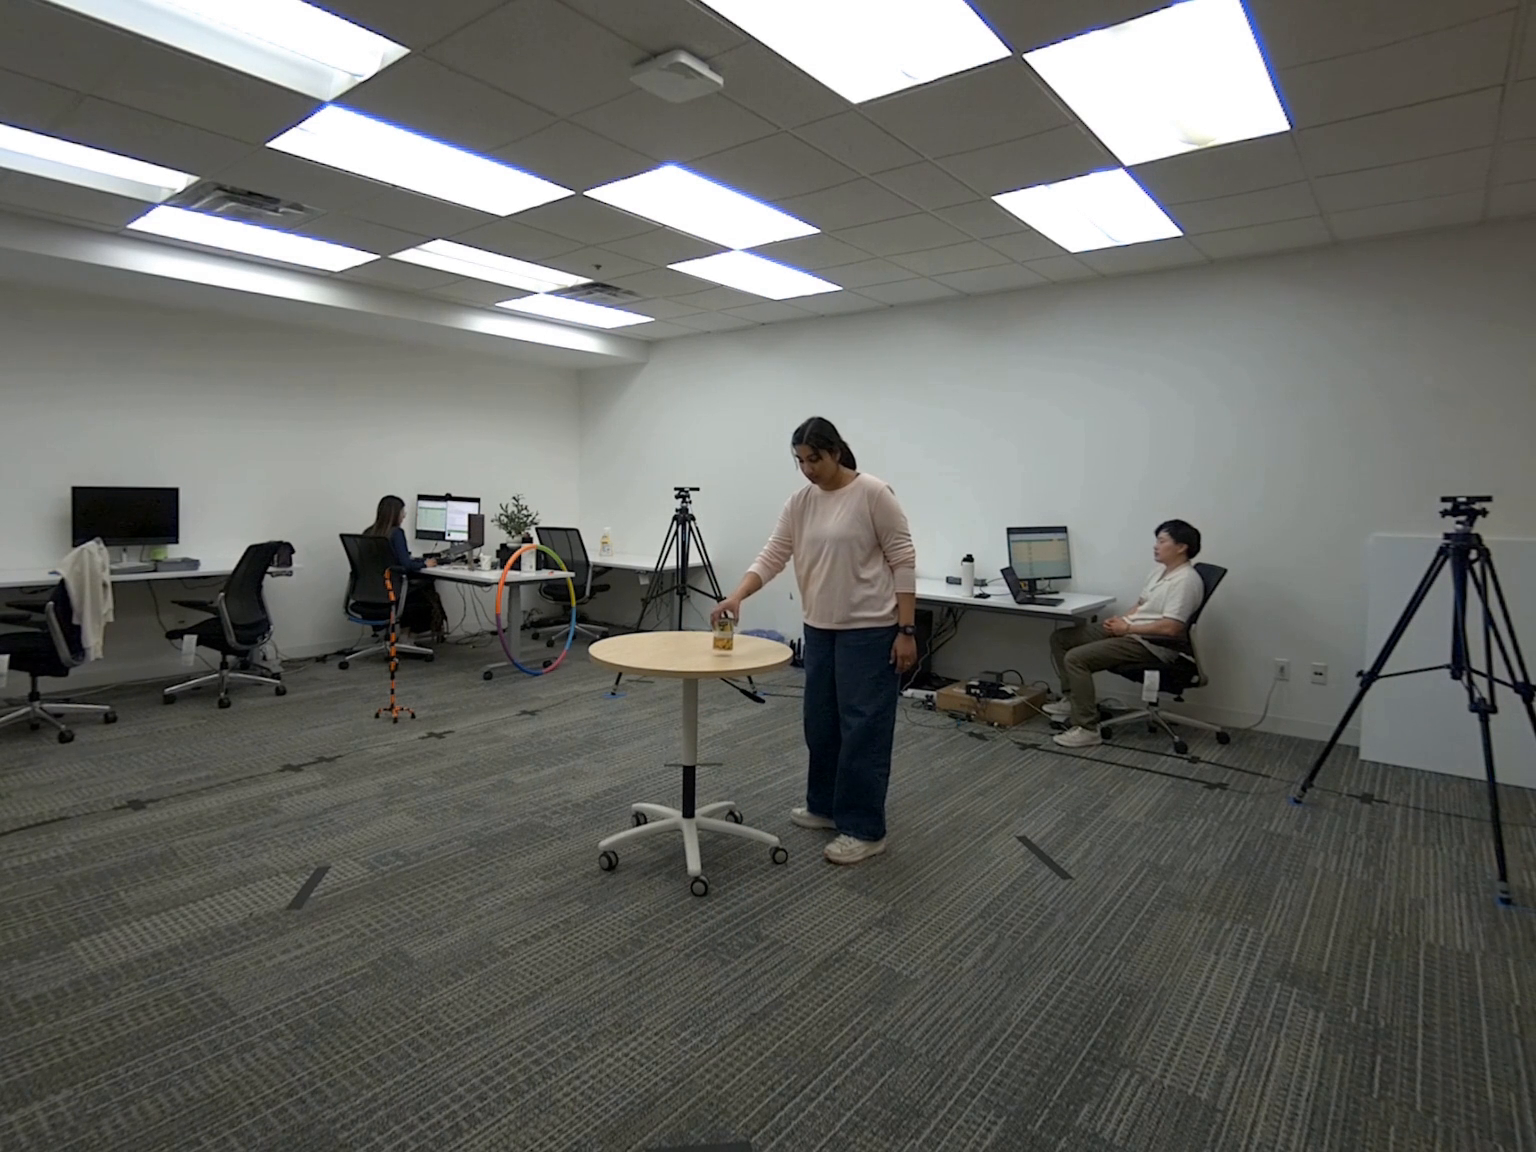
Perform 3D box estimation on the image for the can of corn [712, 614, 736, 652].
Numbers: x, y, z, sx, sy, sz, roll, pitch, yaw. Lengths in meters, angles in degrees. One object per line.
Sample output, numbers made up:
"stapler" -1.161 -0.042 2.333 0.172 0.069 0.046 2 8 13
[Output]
"can of corn" -0.173 0.212 3.088 0.074 0.111 0.074 4 1 -2
